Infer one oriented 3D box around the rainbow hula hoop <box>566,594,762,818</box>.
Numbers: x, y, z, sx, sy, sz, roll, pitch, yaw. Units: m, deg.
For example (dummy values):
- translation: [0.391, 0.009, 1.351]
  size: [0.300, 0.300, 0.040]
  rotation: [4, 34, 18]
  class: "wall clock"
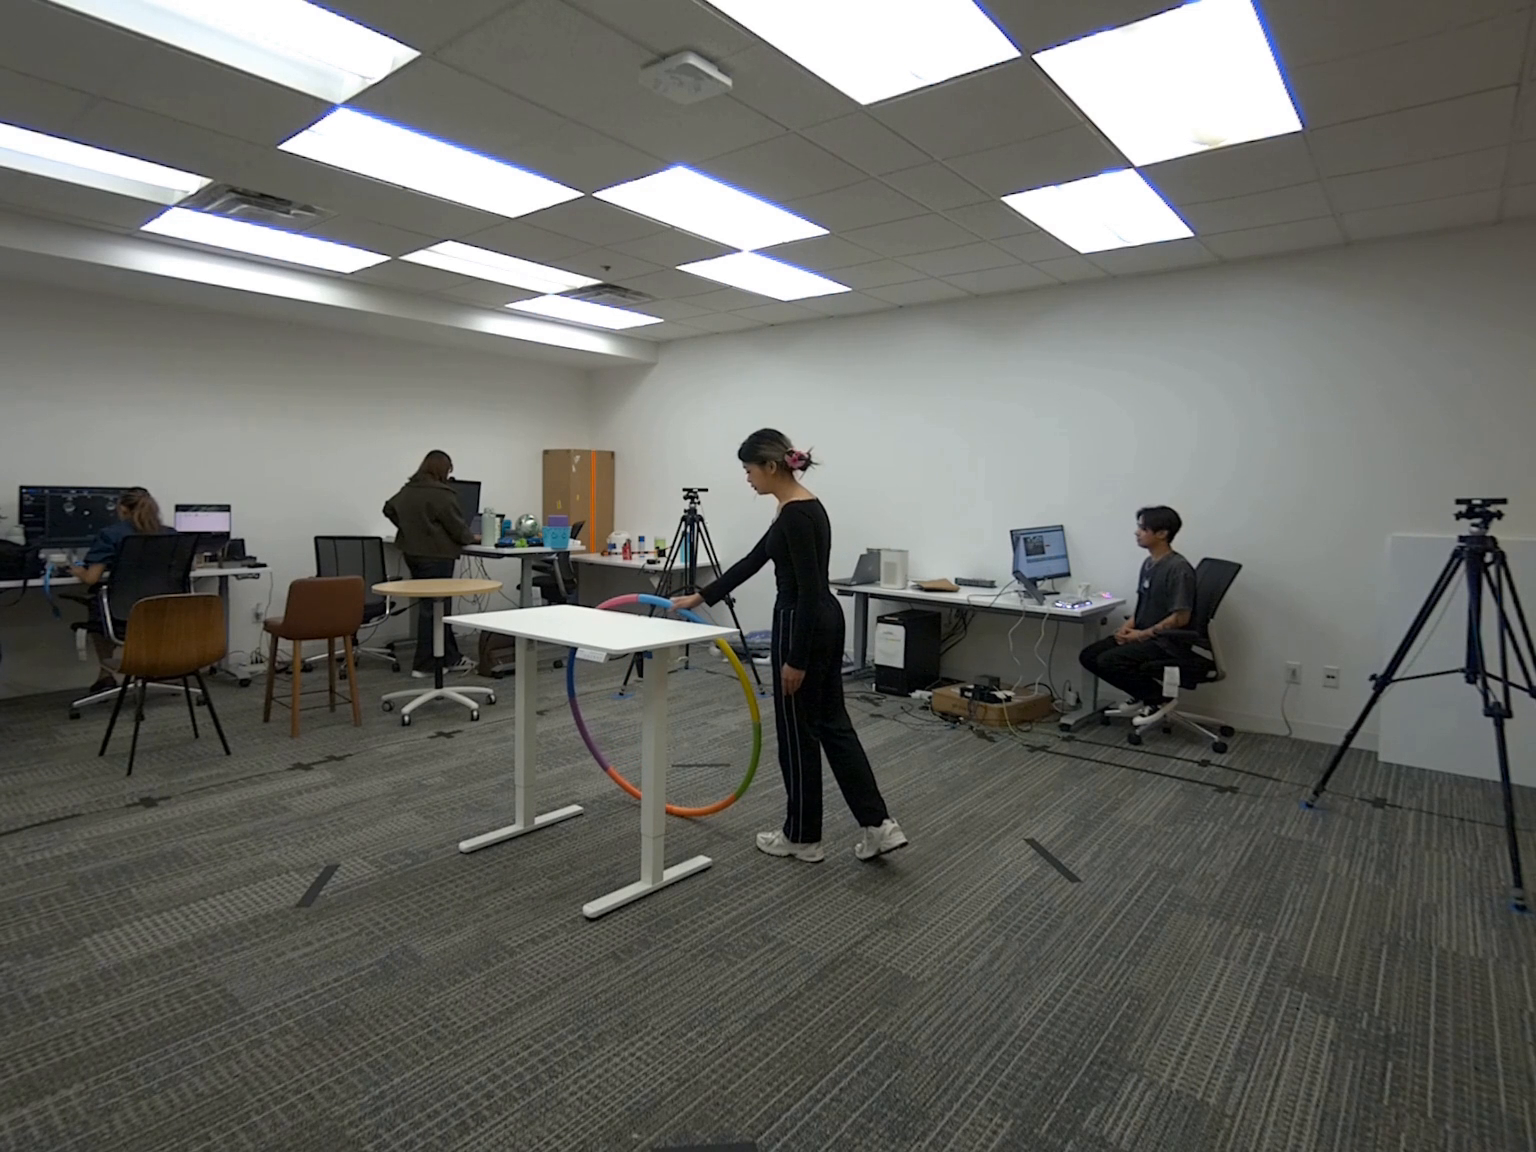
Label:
- translation: [-0.470, 0.545, 3.553]
  size: [1.008, 0.965, 0.035]
  rotation: [4, 15, 31]
  class: "rainbow hula hoop"
